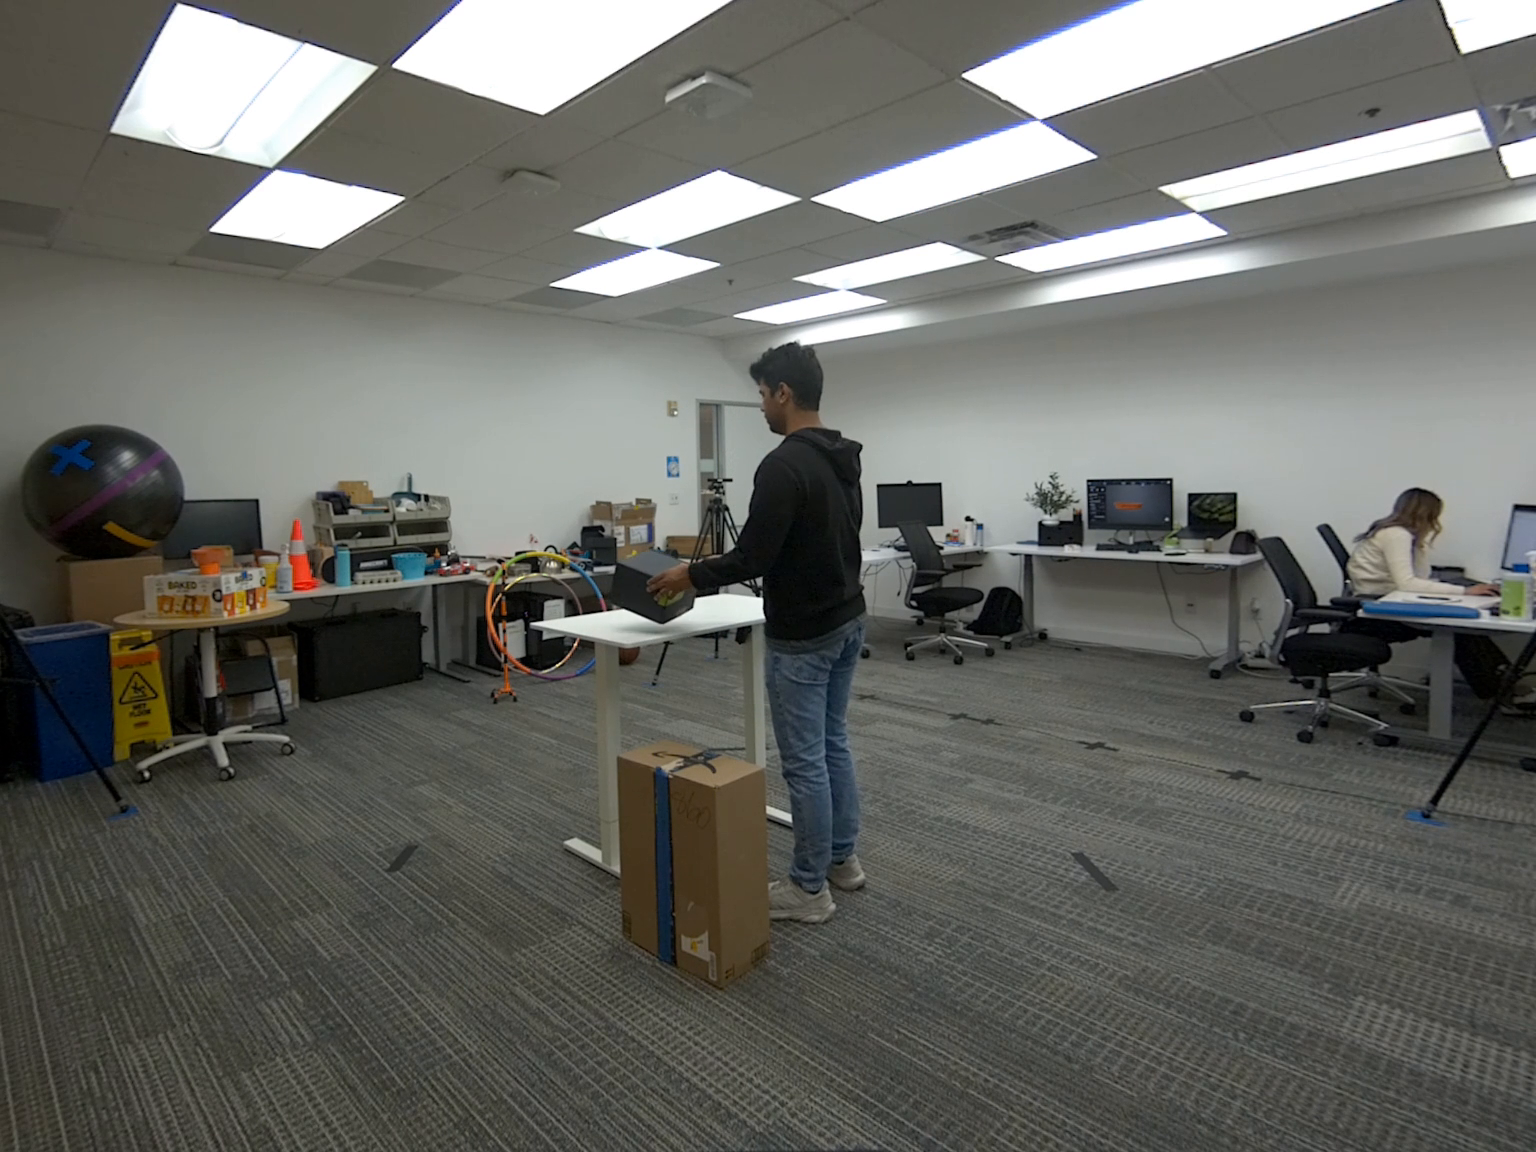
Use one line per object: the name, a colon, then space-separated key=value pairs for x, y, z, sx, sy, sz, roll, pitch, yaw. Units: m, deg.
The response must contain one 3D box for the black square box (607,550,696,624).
black square box: x=-0.375 y=0.033 z=2.951 sx=0.222 sy=0.154 sz=0.225 roll=18 pitch=18 yaw=20
